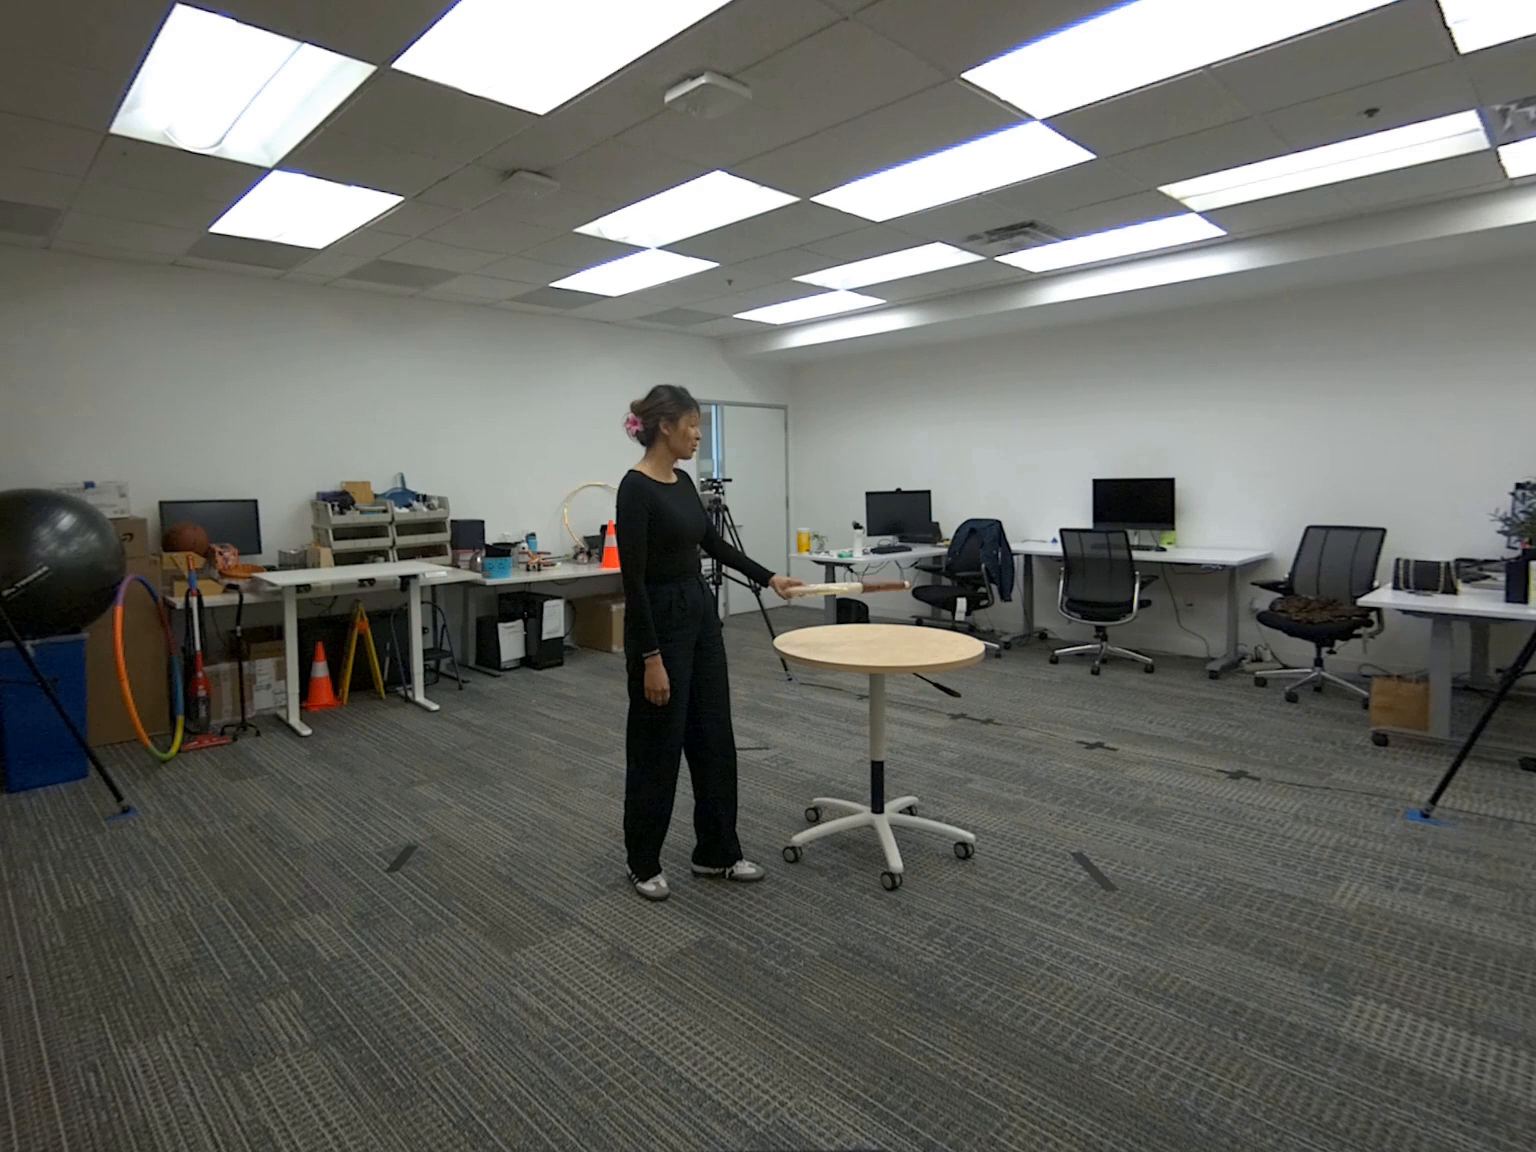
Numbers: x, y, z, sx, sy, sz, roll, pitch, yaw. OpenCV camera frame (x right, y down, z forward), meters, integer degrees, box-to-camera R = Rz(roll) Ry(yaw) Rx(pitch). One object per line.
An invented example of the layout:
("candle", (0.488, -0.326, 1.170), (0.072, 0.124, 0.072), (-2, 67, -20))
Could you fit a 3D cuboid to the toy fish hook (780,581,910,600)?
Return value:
("toy fish hook", (0.297, 0.053, 3.029), (0.500, 0.048, 0.228), (-3, 3, -13))
